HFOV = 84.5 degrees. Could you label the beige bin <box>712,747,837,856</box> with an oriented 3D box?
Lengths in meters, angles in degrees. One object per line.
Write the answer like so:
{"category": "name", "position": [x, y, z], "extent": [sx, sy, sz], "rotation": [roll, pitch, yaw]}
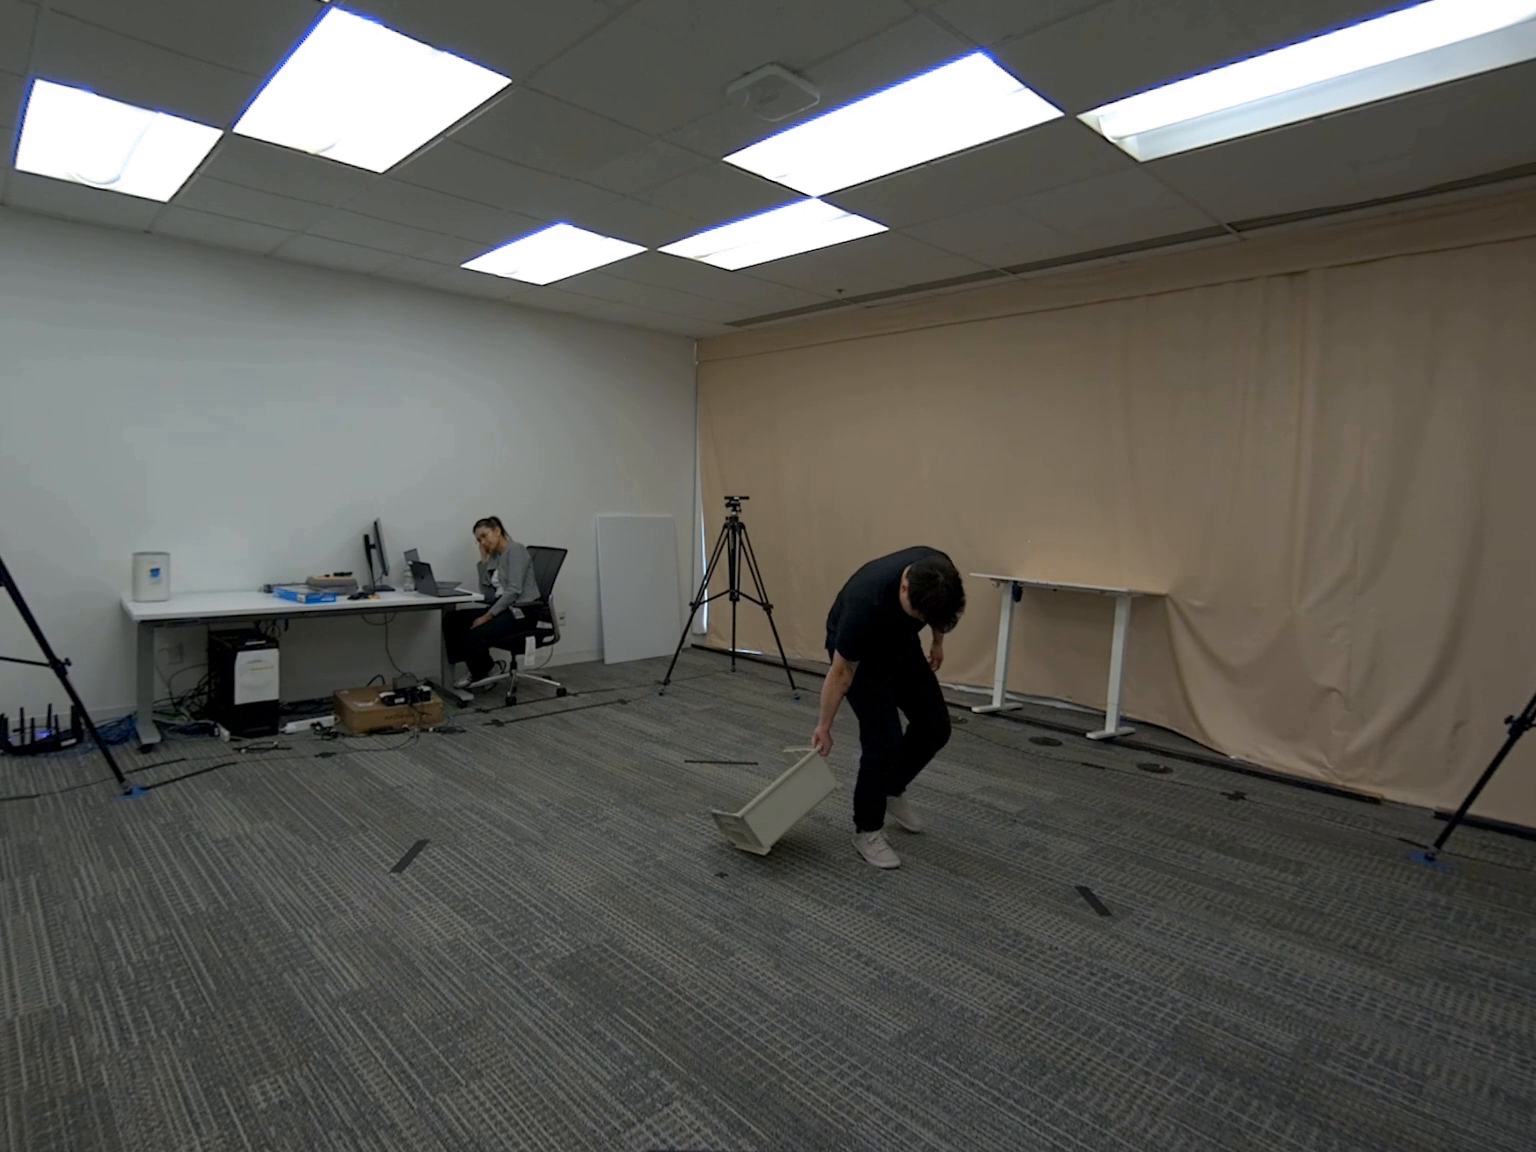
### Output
{"category": "beige bin", "position": [0.015, 0.877, 3.312], "extent": [0.420, 0.189, 0.380], "rotation": [-35, 3, -26]}
